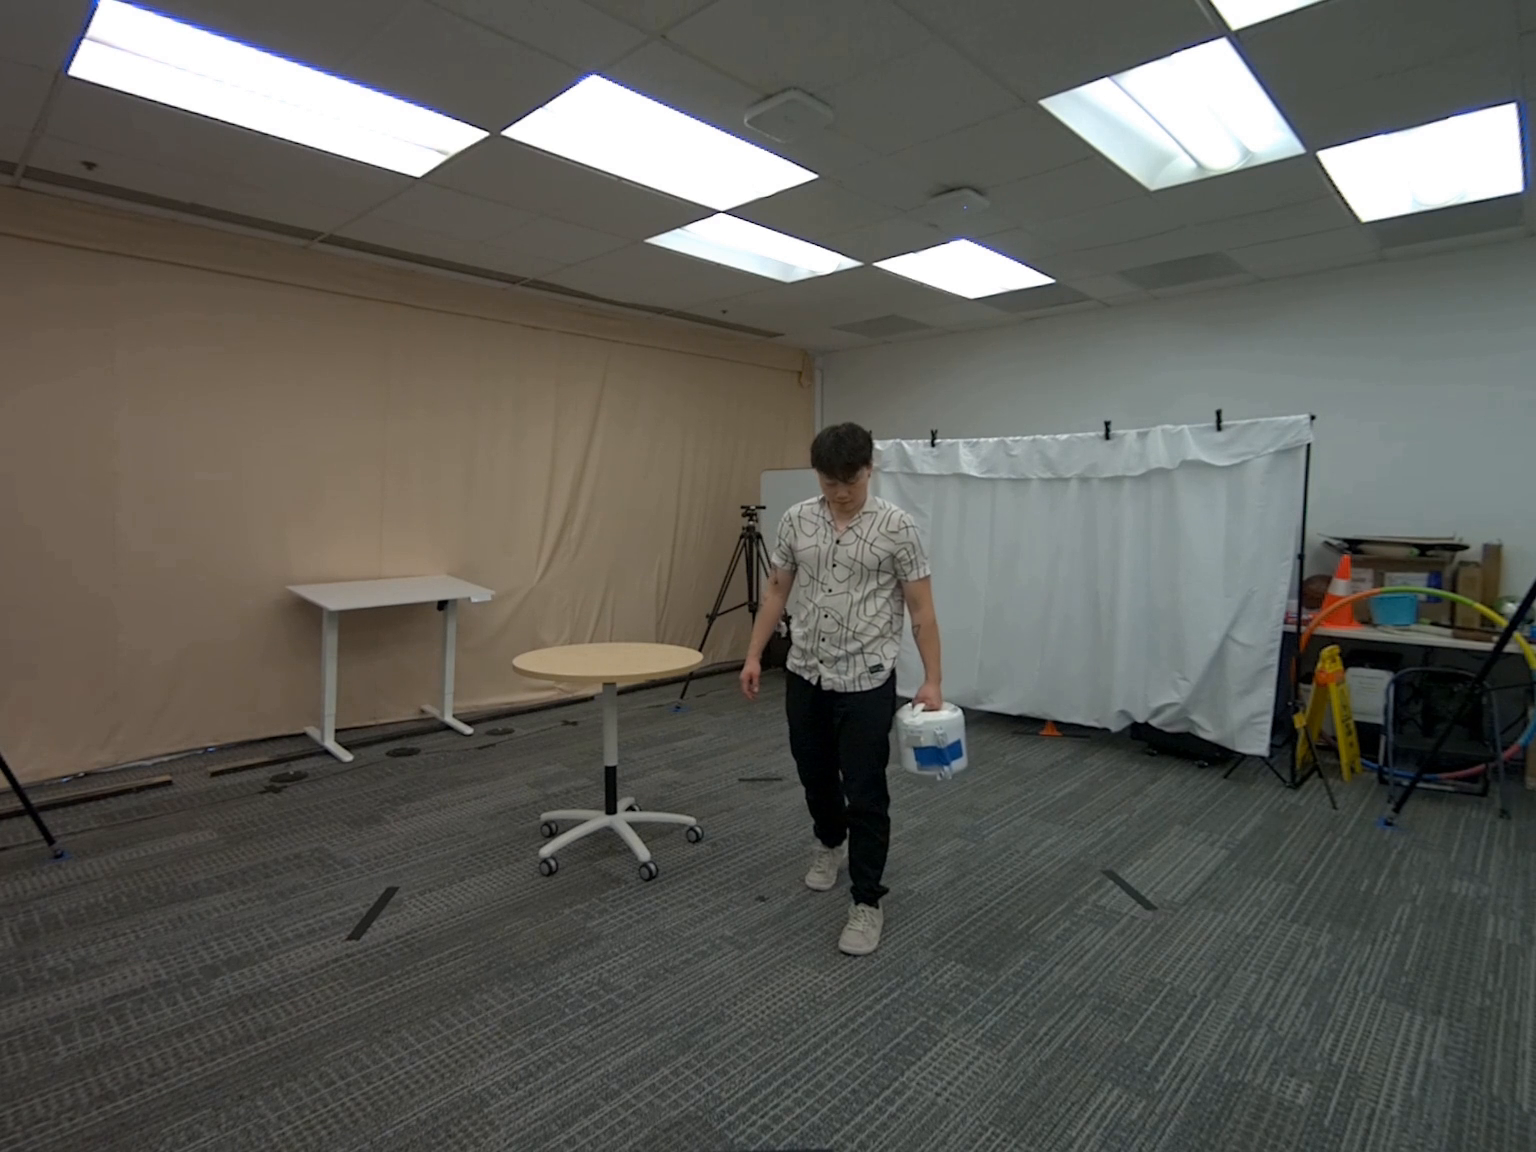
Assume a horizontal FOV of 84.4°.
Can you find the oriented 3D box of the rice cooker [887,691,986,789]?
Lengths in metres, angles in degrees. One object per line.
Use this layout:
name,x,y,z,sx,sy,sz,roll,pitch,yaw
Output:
rice cooker,0.521,0.505,2.657,0.224,0.232,0.214,-3,2,41
